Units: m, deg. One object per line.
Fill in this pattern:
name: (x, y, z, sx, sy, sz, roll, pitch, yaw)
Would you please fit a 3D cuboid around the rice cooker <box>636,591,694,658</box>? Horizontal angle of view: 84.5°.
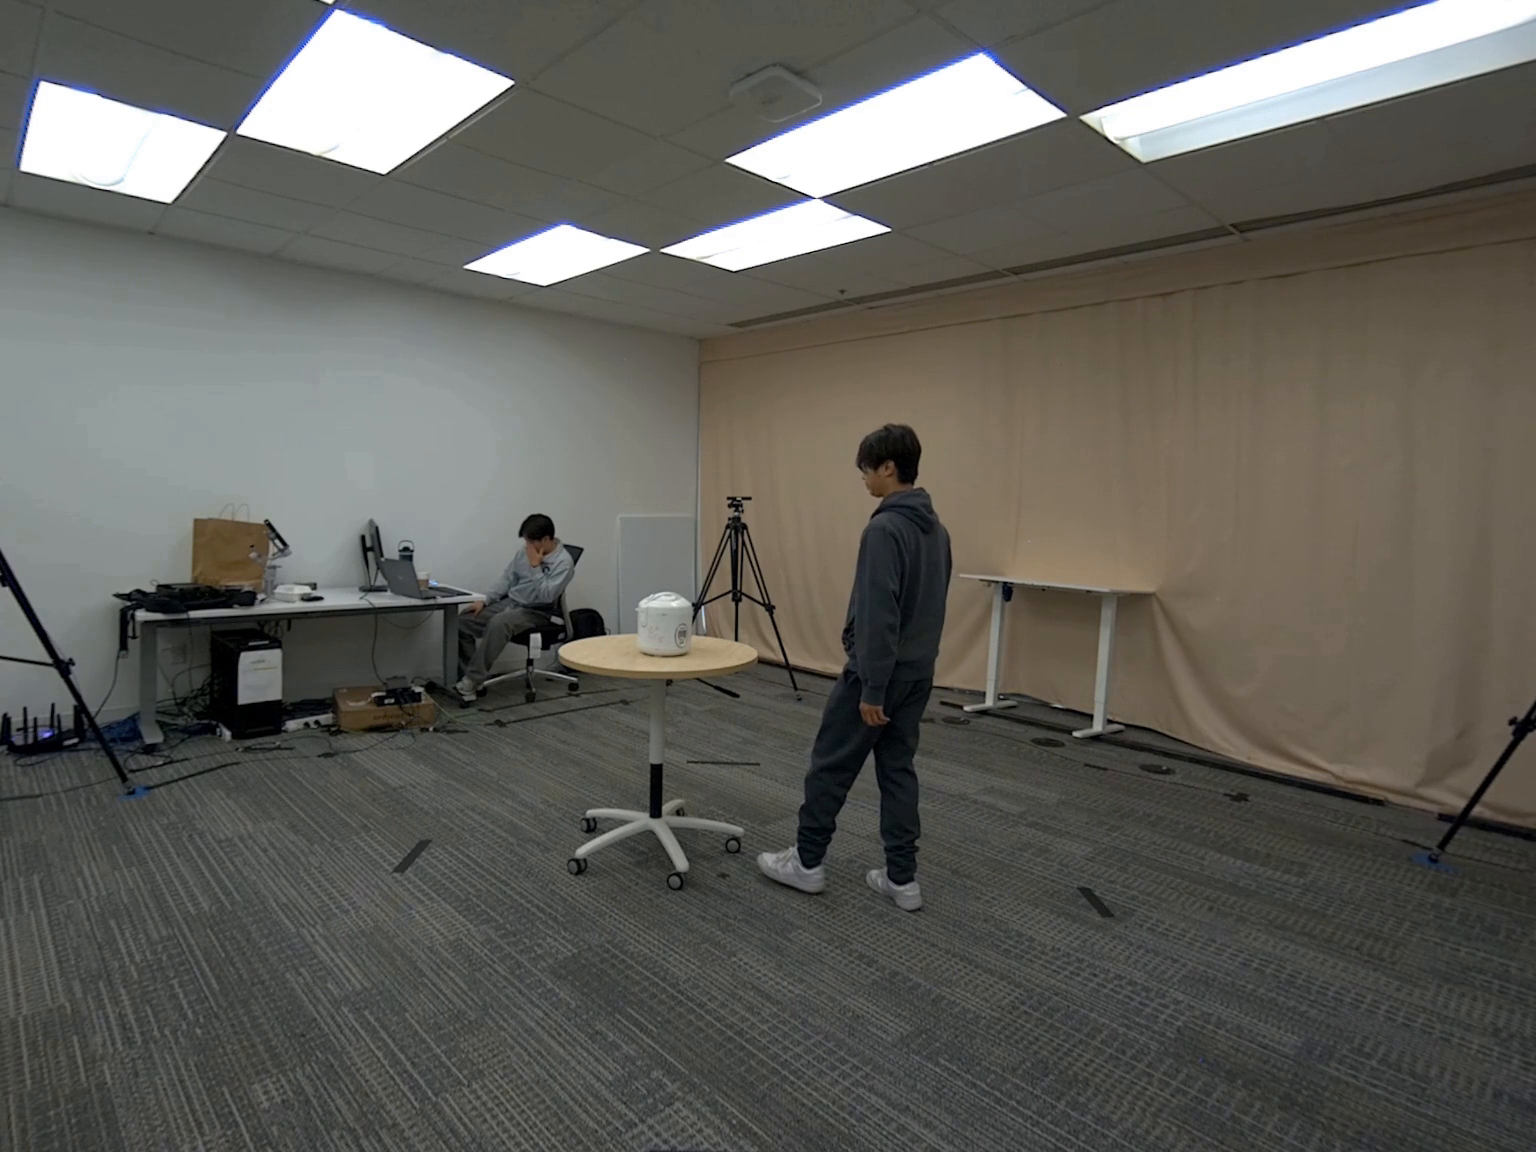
rice cooker: (-0.394, 0.177, 3.209, 0.215, 0.232, 0.223, -3, 6, -43)
